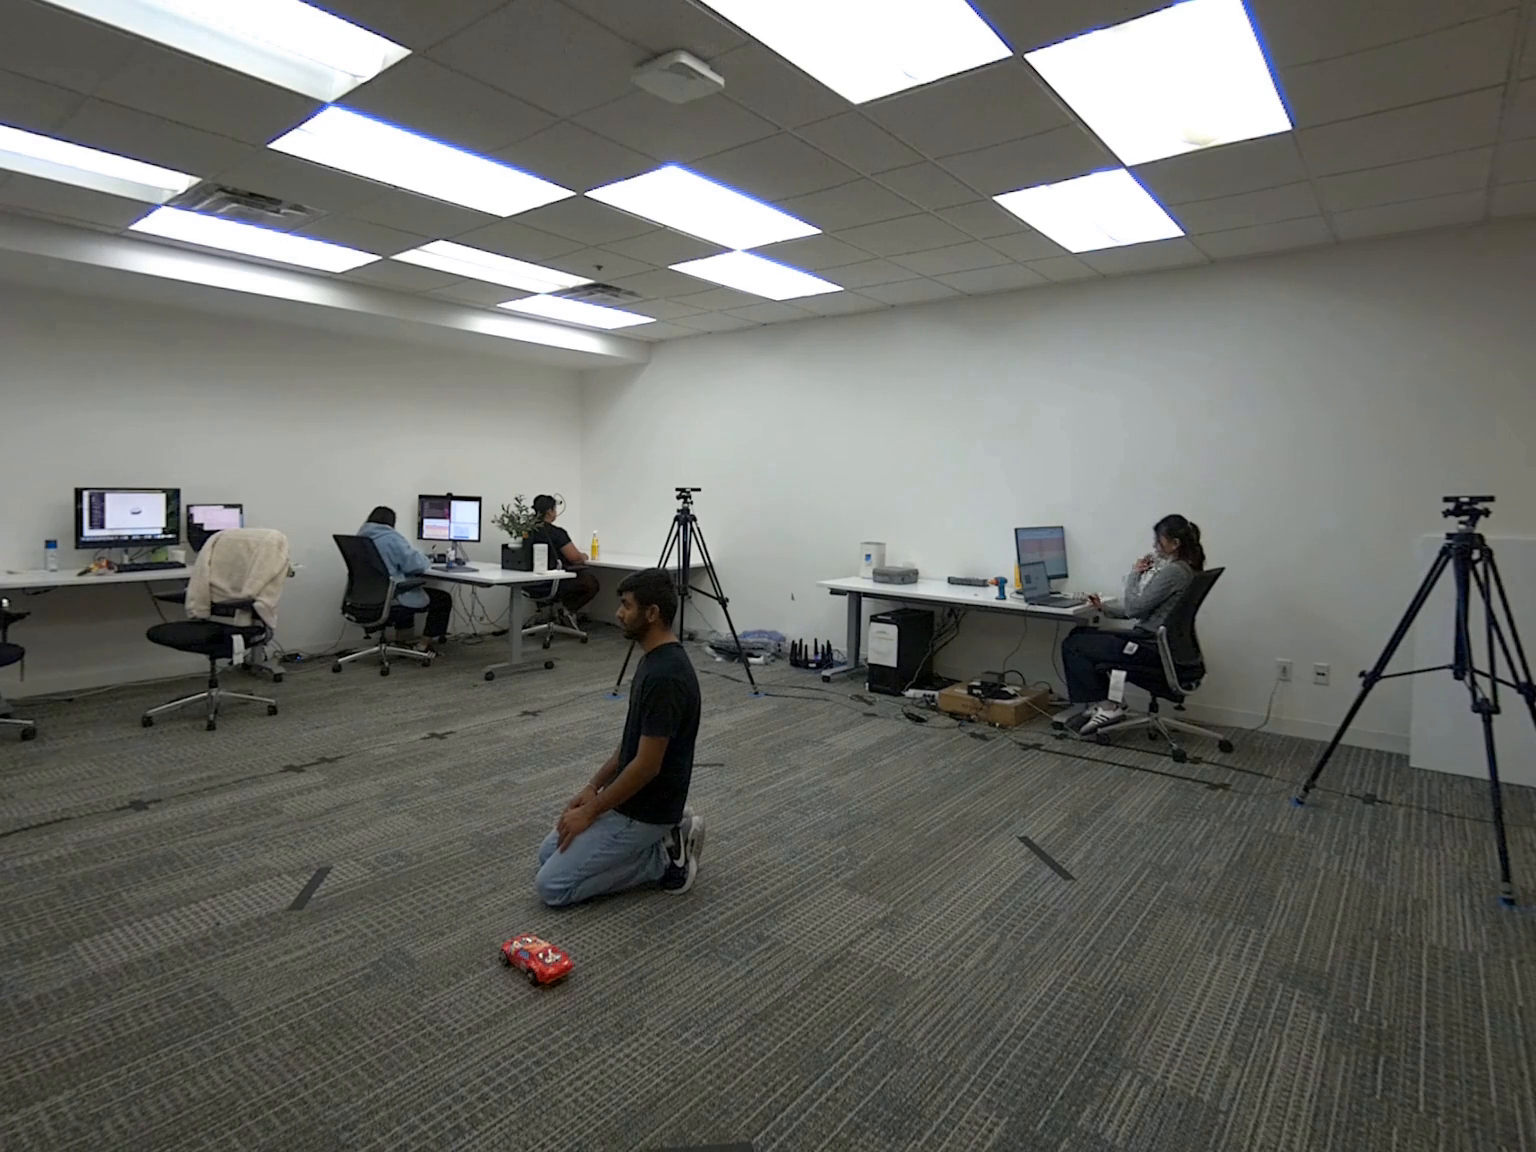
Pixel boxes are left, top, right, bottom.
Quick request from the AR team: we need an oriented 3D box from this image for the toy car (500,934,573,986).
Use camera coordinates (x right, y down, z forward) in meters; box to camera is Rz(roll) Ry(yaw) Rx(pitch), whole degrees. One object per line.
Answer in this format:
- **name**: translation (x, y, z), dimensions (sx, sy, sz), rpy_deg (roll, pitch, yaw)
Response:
- **toy car**: translation (-0.668, 1.092, 2.432), dimensions (0.261, 0.083, 0.126), rpy_deg (-8, -2, 43)
